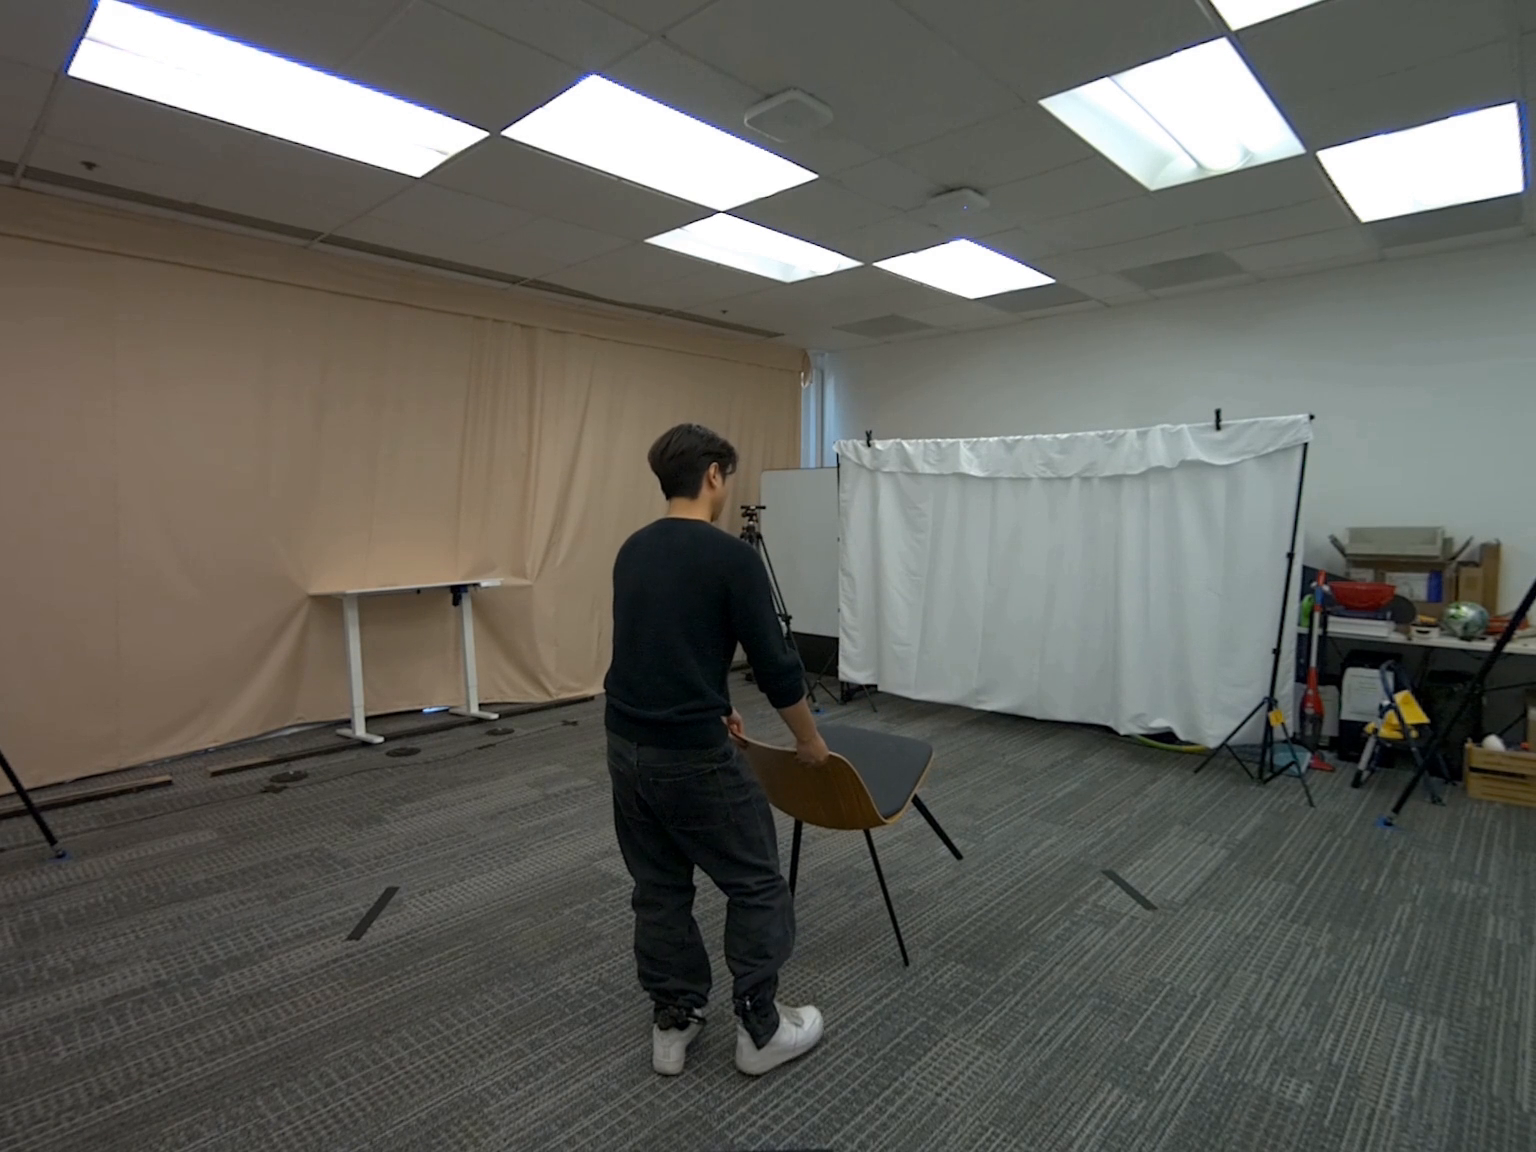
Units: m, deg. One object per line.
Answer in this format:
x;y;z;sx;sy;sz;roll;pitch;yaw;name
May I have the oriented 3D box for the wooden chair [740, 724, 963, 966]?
0.262;0.683;2.676;0.494;0.857;0.518;3;35;38;wooden chair
